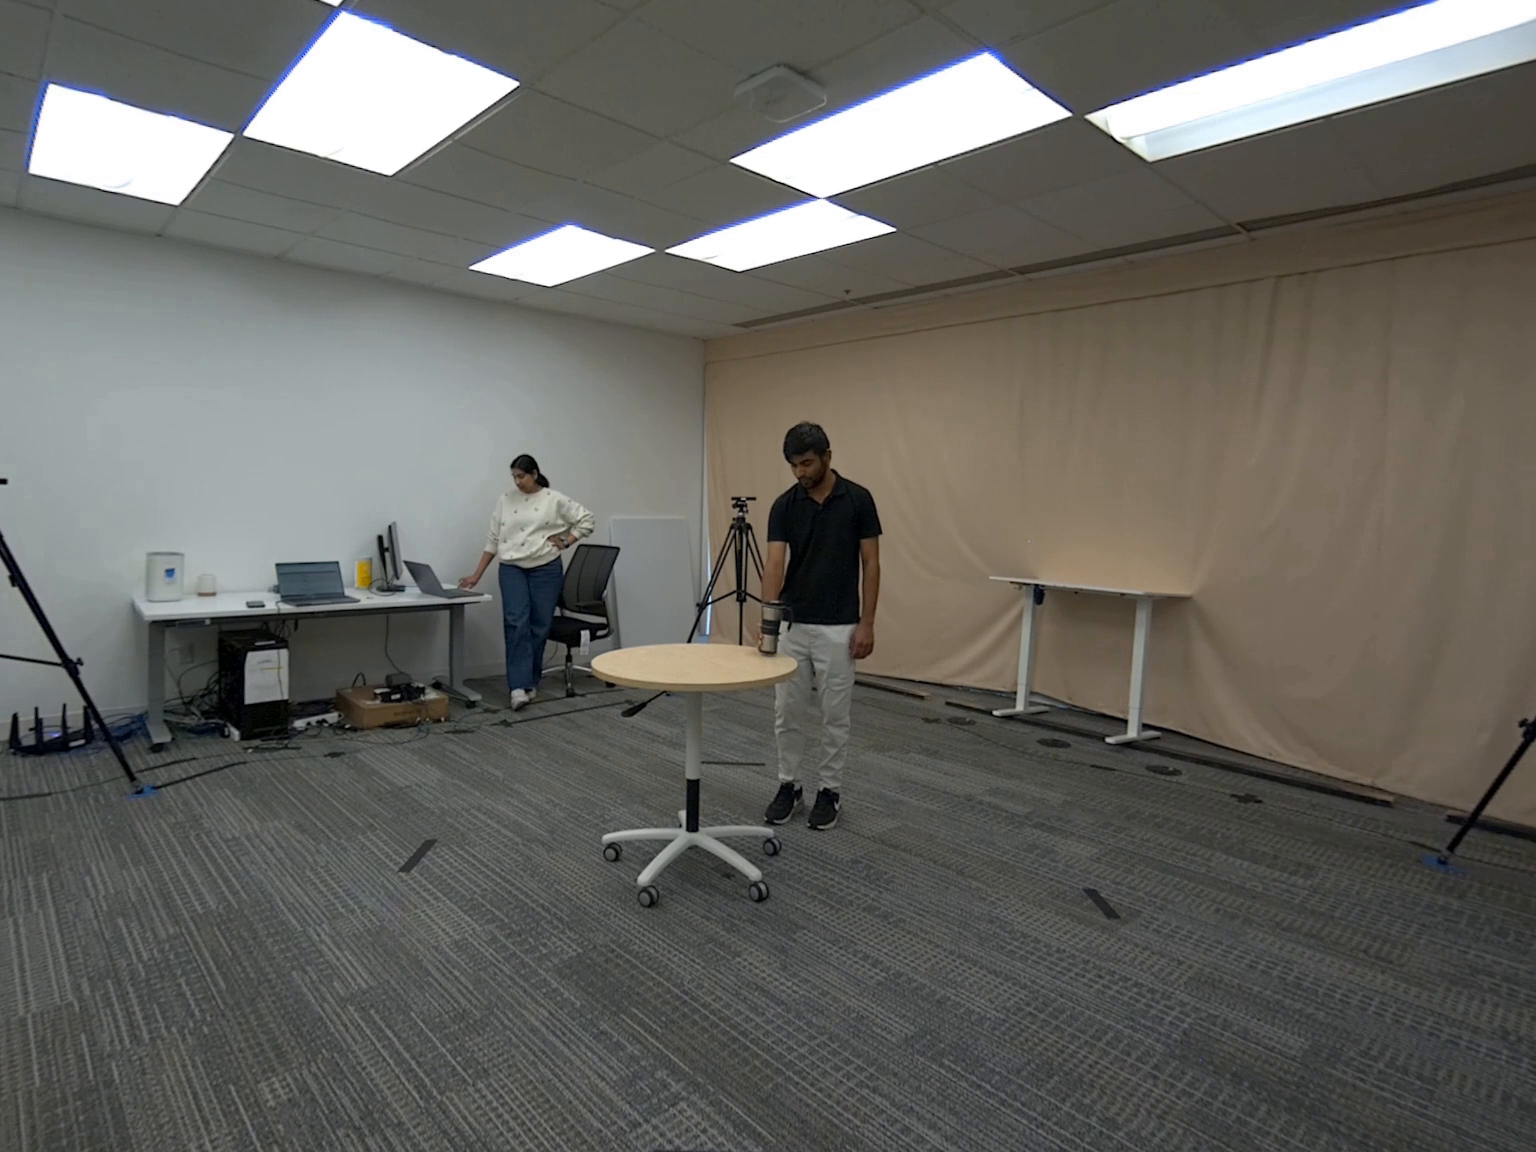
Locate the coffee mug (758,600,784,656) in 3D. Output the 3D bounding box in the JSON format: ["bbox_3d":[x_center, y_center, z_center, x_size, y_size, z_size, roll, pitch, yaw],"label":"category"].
[{"bbox_3d":[0.018,0.191,3.251,0.124,0.203,0.086,3,2,19],"label":"coffee mug"}]
